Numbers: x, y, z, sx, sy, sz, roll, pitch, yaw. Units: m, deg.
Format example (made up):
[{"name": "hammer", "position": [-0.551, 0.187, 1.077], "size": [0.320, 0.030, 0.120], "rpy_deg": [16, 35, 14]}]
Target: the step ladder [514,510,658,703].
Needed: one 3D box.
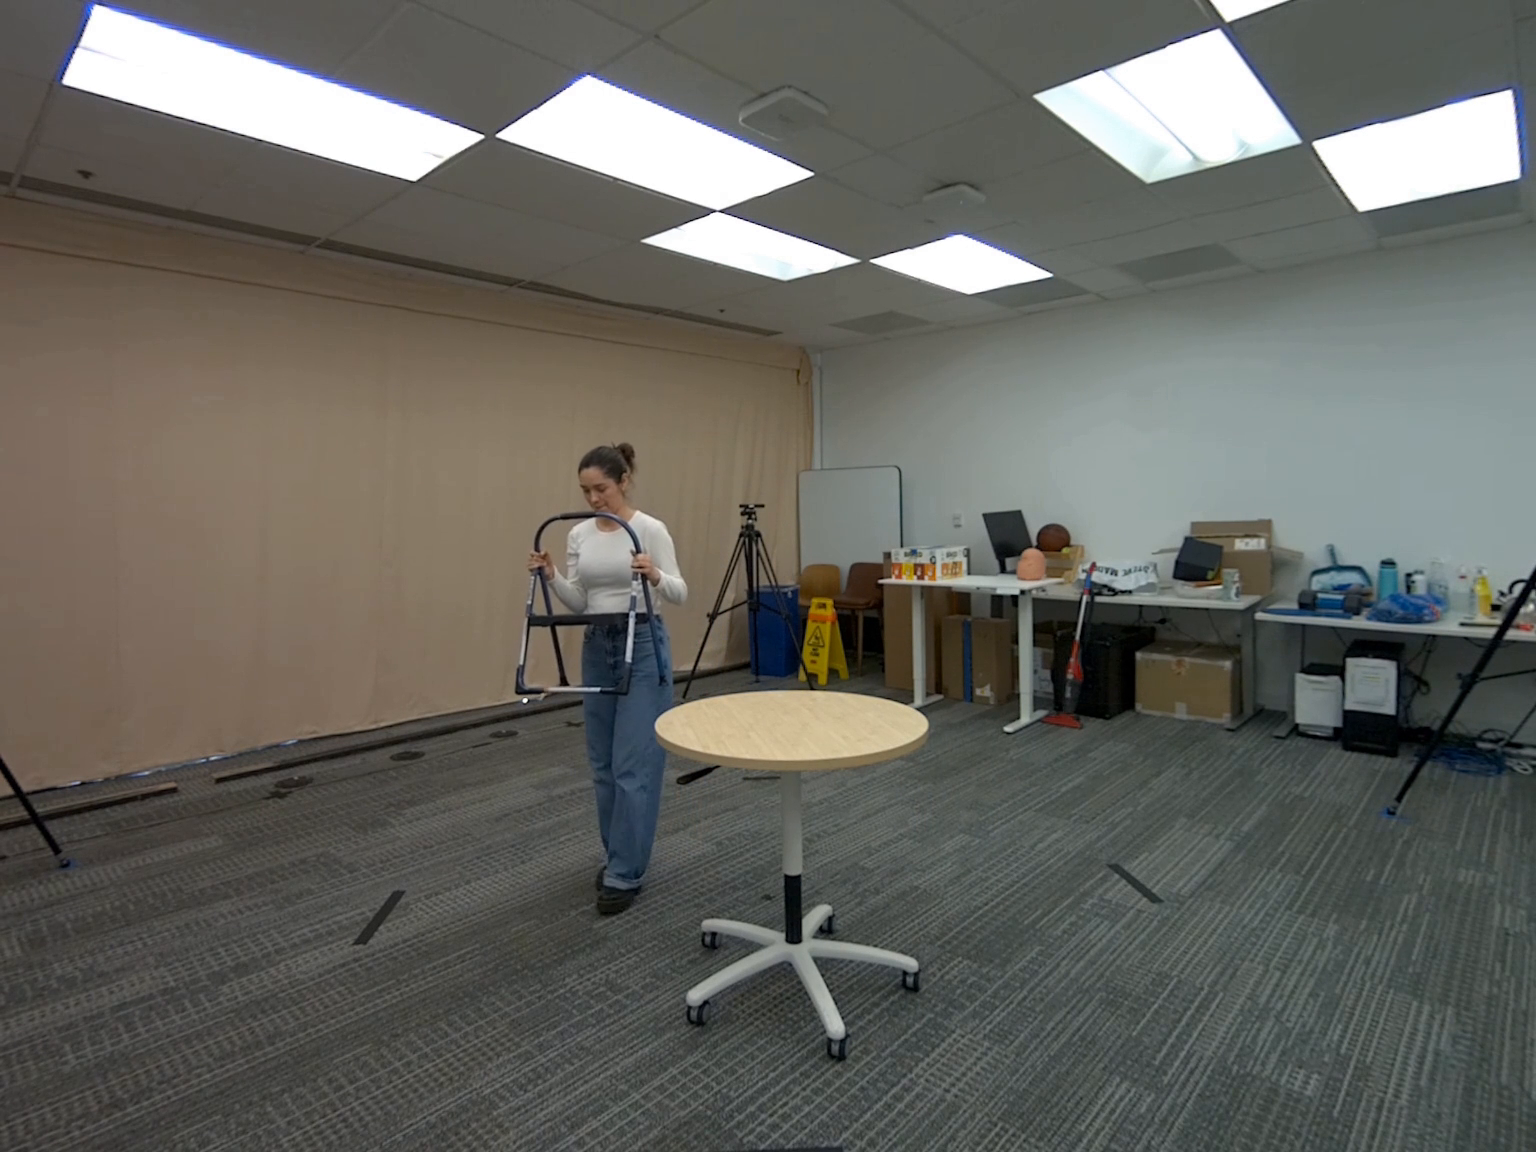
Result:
[{"name": "step ladder", "position": [-0.605, 0.086, 2.904], "size": [0.438, 0.607, 0.342], "rpy_deg": [-2, -3, 17]}]
